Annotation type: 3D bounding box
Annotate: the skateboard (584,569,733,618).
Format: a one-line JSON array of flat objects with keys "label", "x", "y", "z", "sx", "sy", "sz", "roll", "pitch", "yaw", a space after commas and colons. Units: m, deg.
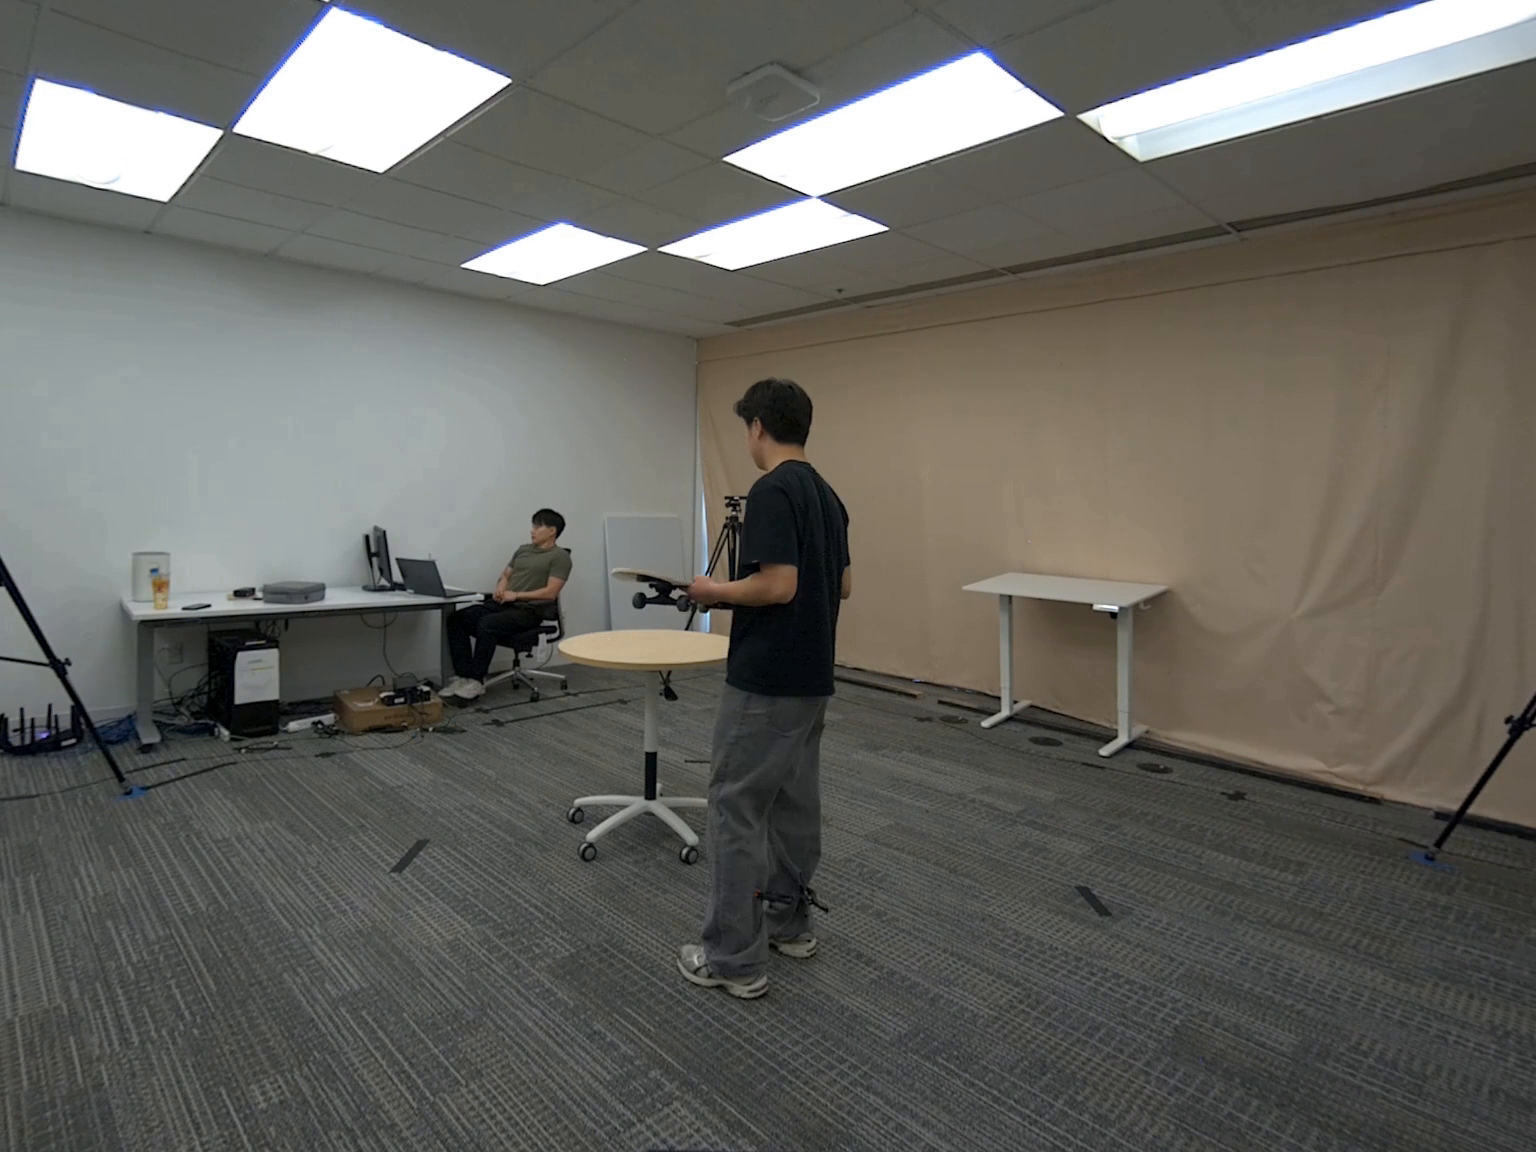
[{"label": "skateboard", "x": -0.238, "y": 0.065, "z": 2.640, "sx": 0.197, "sy": 0.110, "sz": 0.767, "roll": 4, "pitch": -2, "yaw": 29}]
